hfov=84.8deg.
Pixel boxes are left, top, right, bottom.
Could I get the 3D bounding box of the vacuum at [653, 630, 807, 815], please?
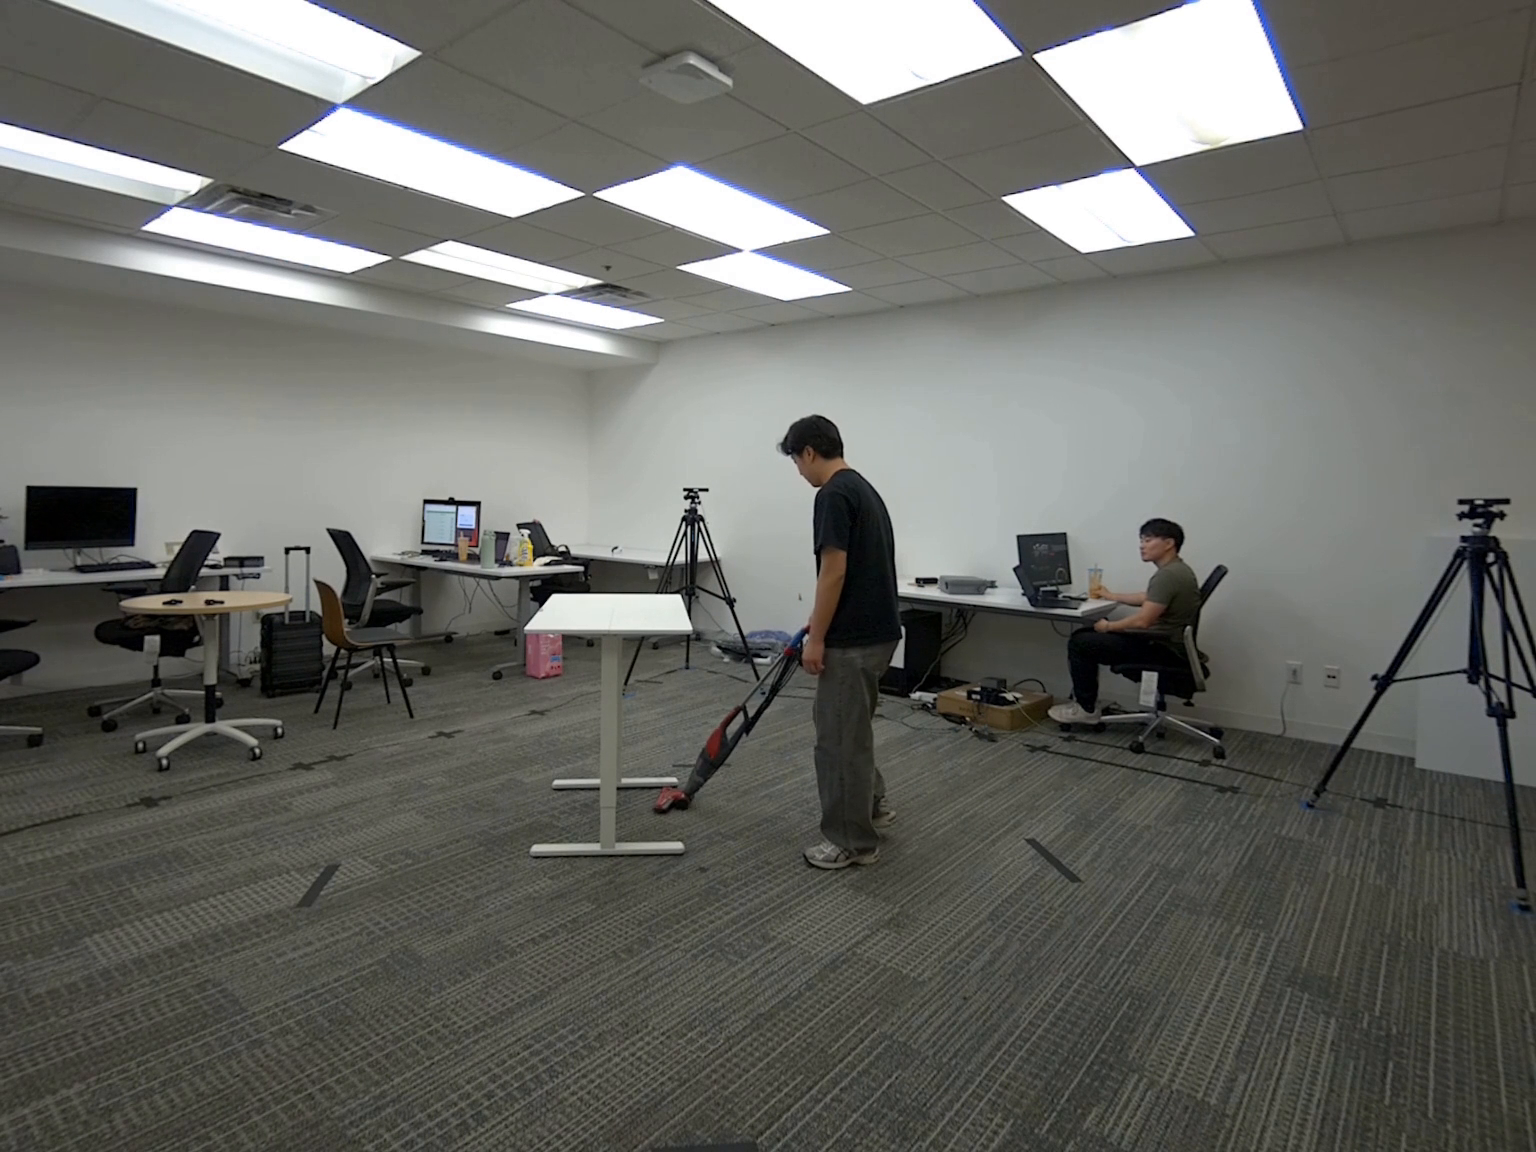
[{"bbox_3d":[-0.095,0.588,3.690,0.144,1.049,0.253,40,6,-4],"label":"vacuum"}]
